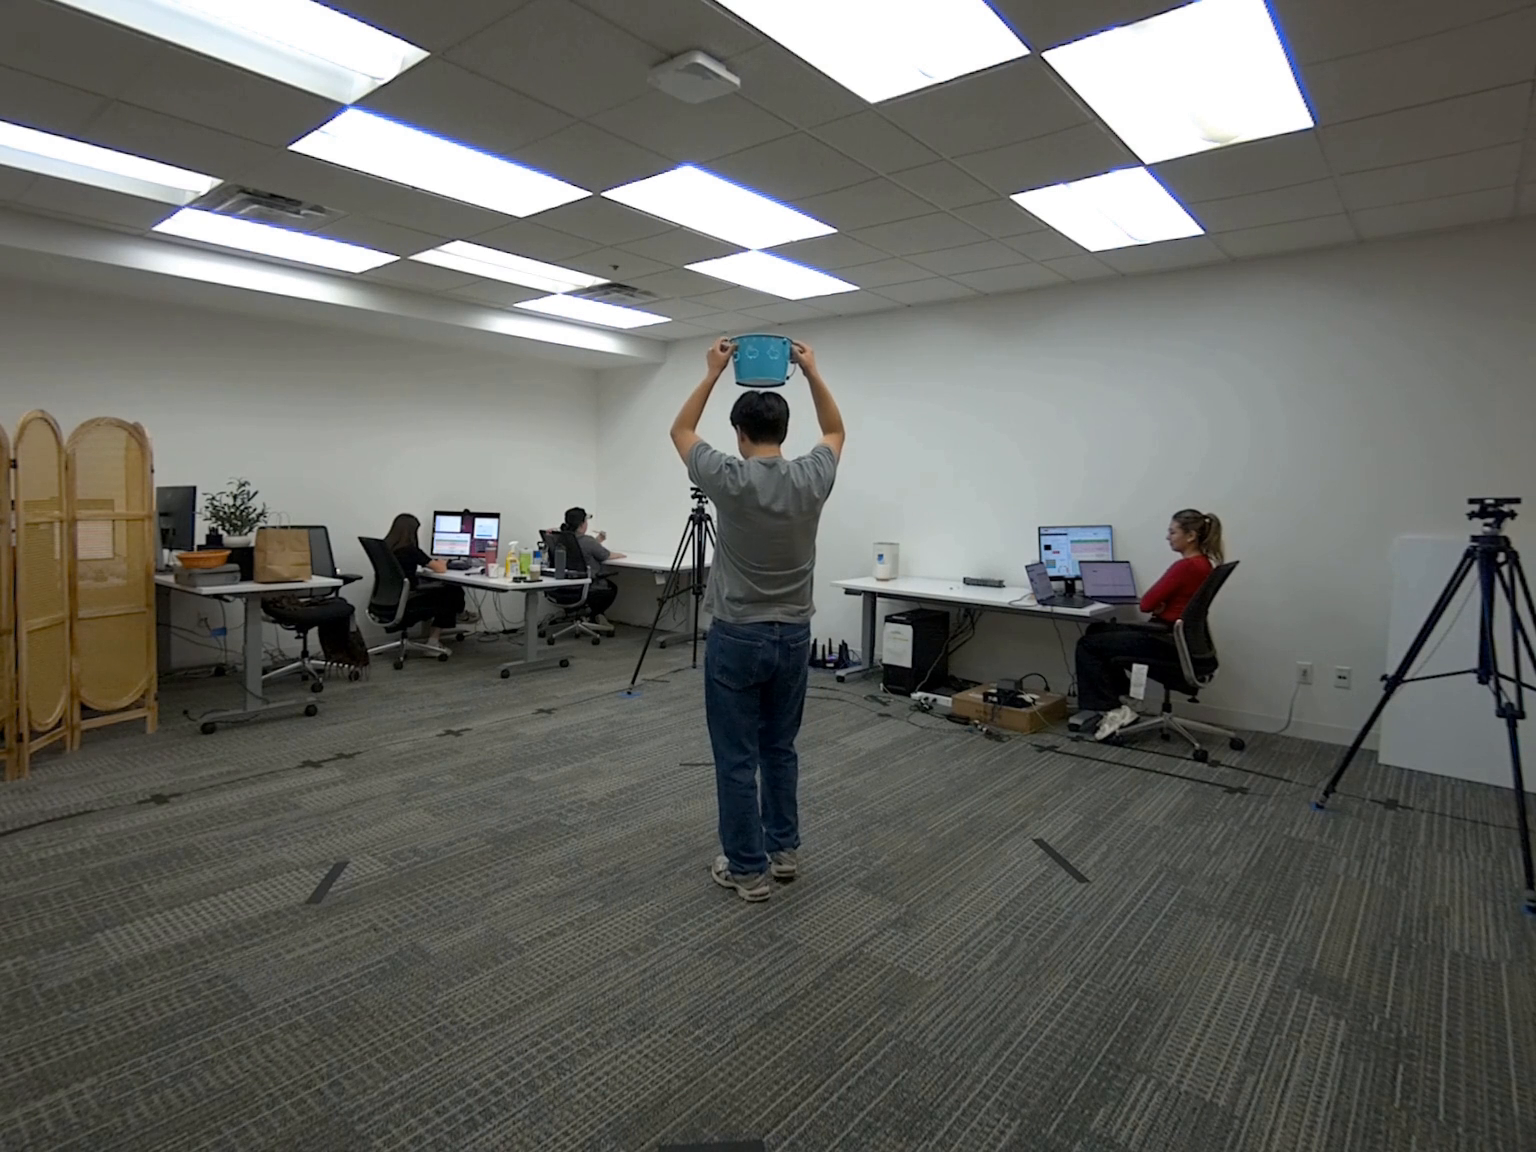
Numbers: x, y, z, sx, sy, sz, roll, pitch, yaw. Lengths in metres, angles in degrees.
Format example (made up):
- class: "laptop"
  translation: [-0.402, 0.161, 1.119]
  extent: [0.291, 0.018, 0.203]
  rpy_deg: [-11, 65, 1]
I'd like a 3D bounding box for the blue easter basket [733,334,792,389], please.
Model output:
- class: "blue easter basket"
  translation: [-0.024, -0.778, 3.074]
  extent: [0.243, 0.156, 0.244]
  rpy_deg: [2, 1, -2]
